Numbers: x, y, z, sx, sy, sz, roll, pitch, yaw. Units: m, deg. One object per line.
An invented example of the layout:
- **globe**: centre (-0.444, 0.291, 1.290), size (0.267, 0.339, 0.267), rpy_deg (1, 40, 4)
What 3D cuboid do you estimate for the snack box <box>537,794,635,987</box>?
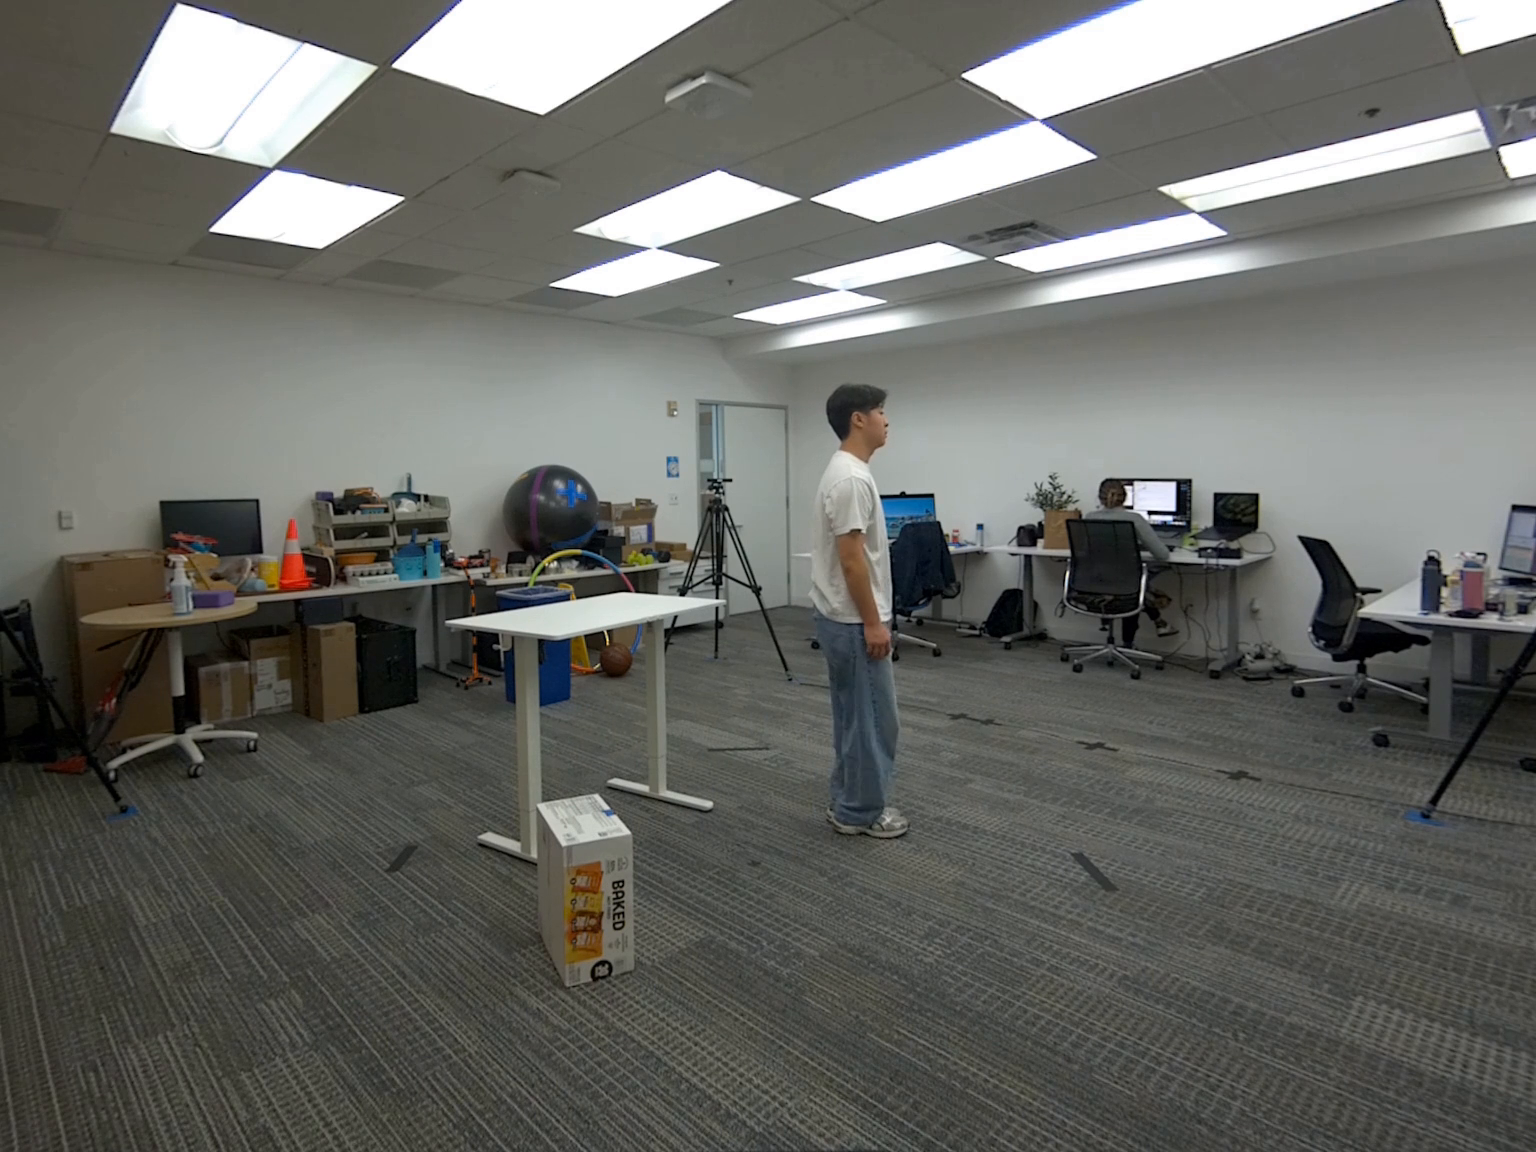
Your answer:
- **snack box**: centre (-0.547, 0.918, 2.540), size (0.201, 0.403, 0.349), rpy_deg (-3, 6, -27)
